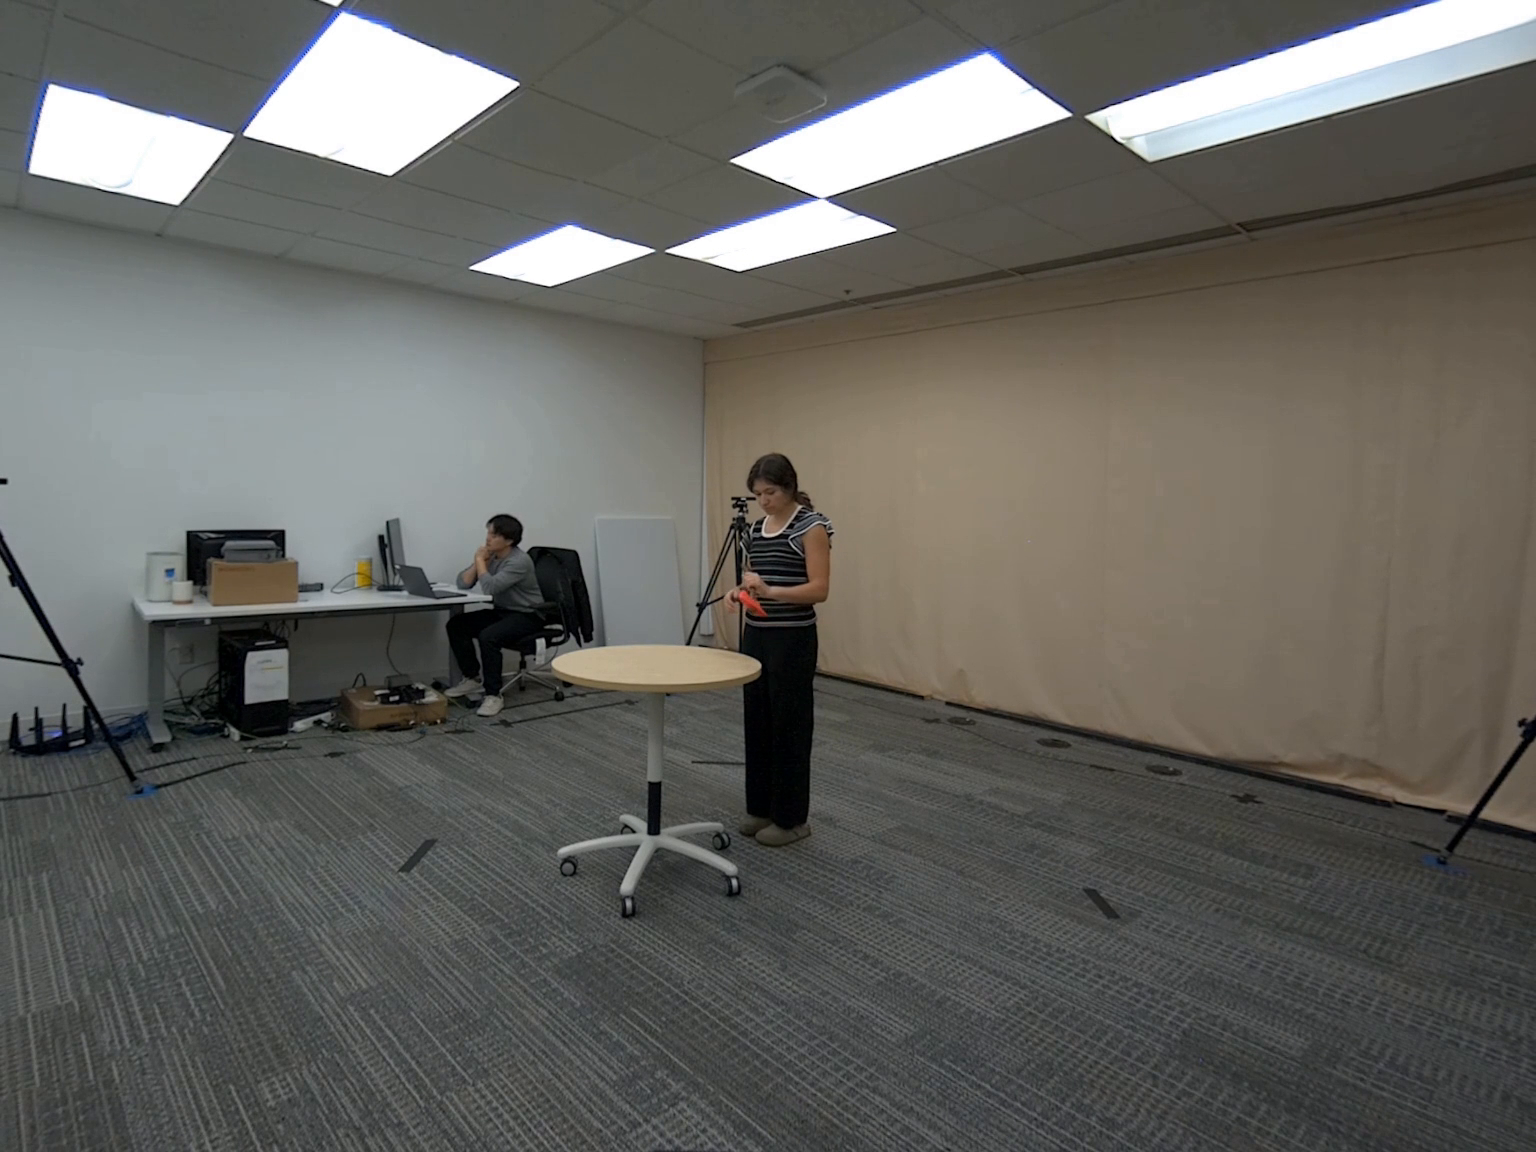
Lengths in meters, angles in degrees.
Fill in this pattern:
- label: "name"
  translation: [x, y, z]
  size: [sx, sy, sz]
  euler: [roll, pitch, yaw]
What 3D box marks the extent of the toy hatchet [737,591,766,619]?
- label: "toy hatchet"
  translation: [-0.090, 0.045, 3.190]
  size: [0.127, 0.029, 0.278]
  euler: [26, 27, -36]
